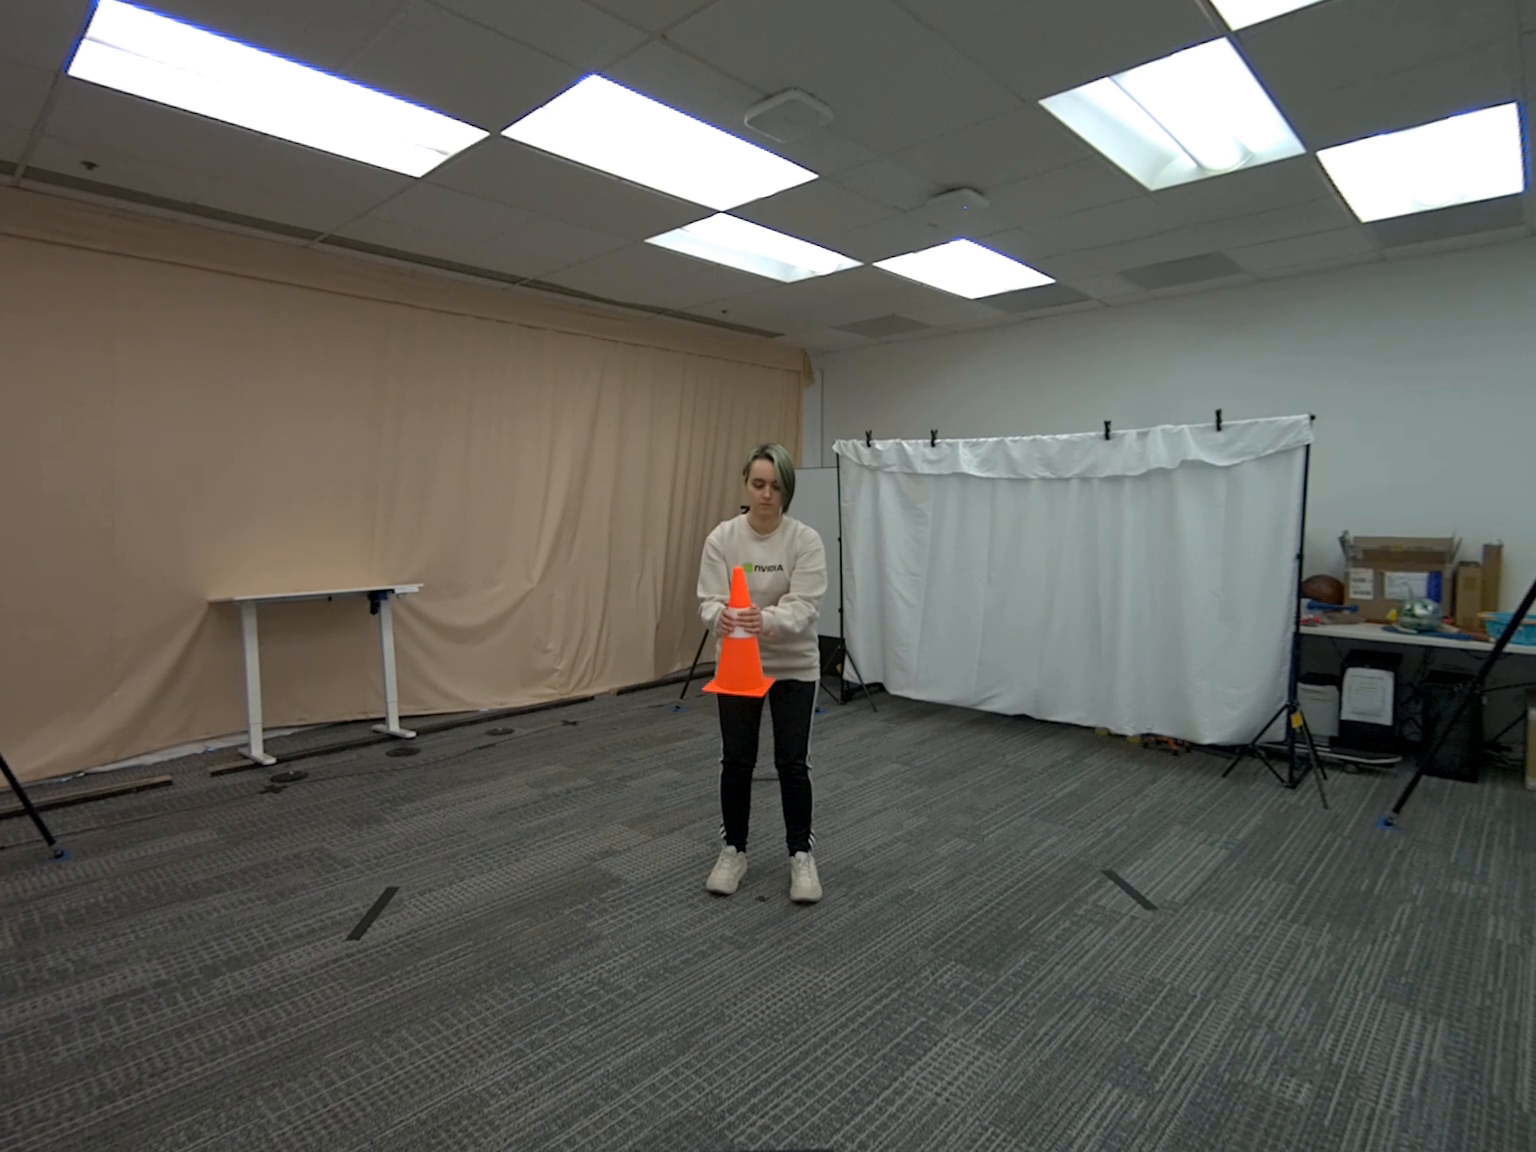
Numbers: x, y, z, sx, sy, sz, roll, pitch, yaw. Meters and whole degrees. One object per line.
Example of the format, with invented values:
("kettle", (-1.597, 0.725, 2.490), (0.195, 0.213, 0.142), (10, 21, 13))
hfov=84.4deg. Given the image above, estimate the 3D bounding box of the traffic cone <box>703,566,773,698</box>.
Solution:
("traffic cone", (-0.093, 0.170, 2.663), (0.208, 0.381, 0.201), (2, 9, 14))
